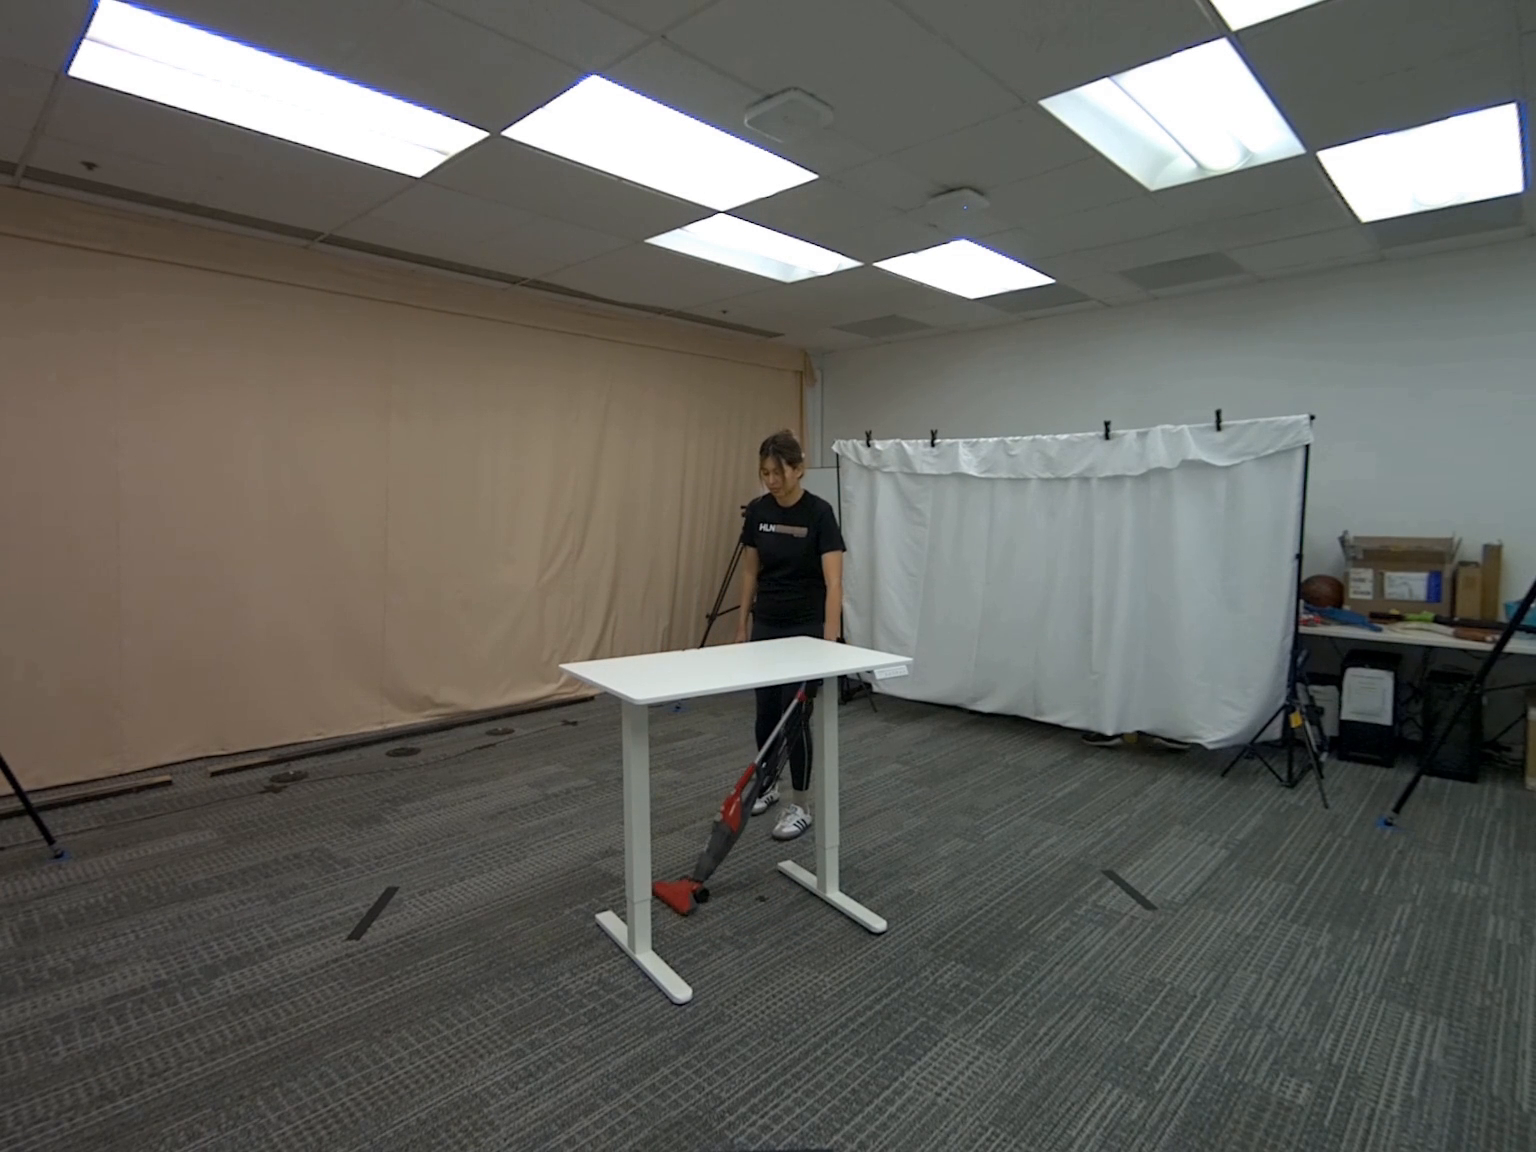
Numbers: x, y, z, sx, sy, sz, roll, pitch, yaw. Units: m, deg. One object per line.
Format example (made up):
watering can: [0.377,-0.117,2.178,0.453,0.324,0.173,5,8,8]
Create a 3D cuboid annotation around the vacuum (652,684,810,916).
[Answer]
vacuum: [-0.029,0.738,3.164,0.261,1.046,0.139,10,-33,48]
